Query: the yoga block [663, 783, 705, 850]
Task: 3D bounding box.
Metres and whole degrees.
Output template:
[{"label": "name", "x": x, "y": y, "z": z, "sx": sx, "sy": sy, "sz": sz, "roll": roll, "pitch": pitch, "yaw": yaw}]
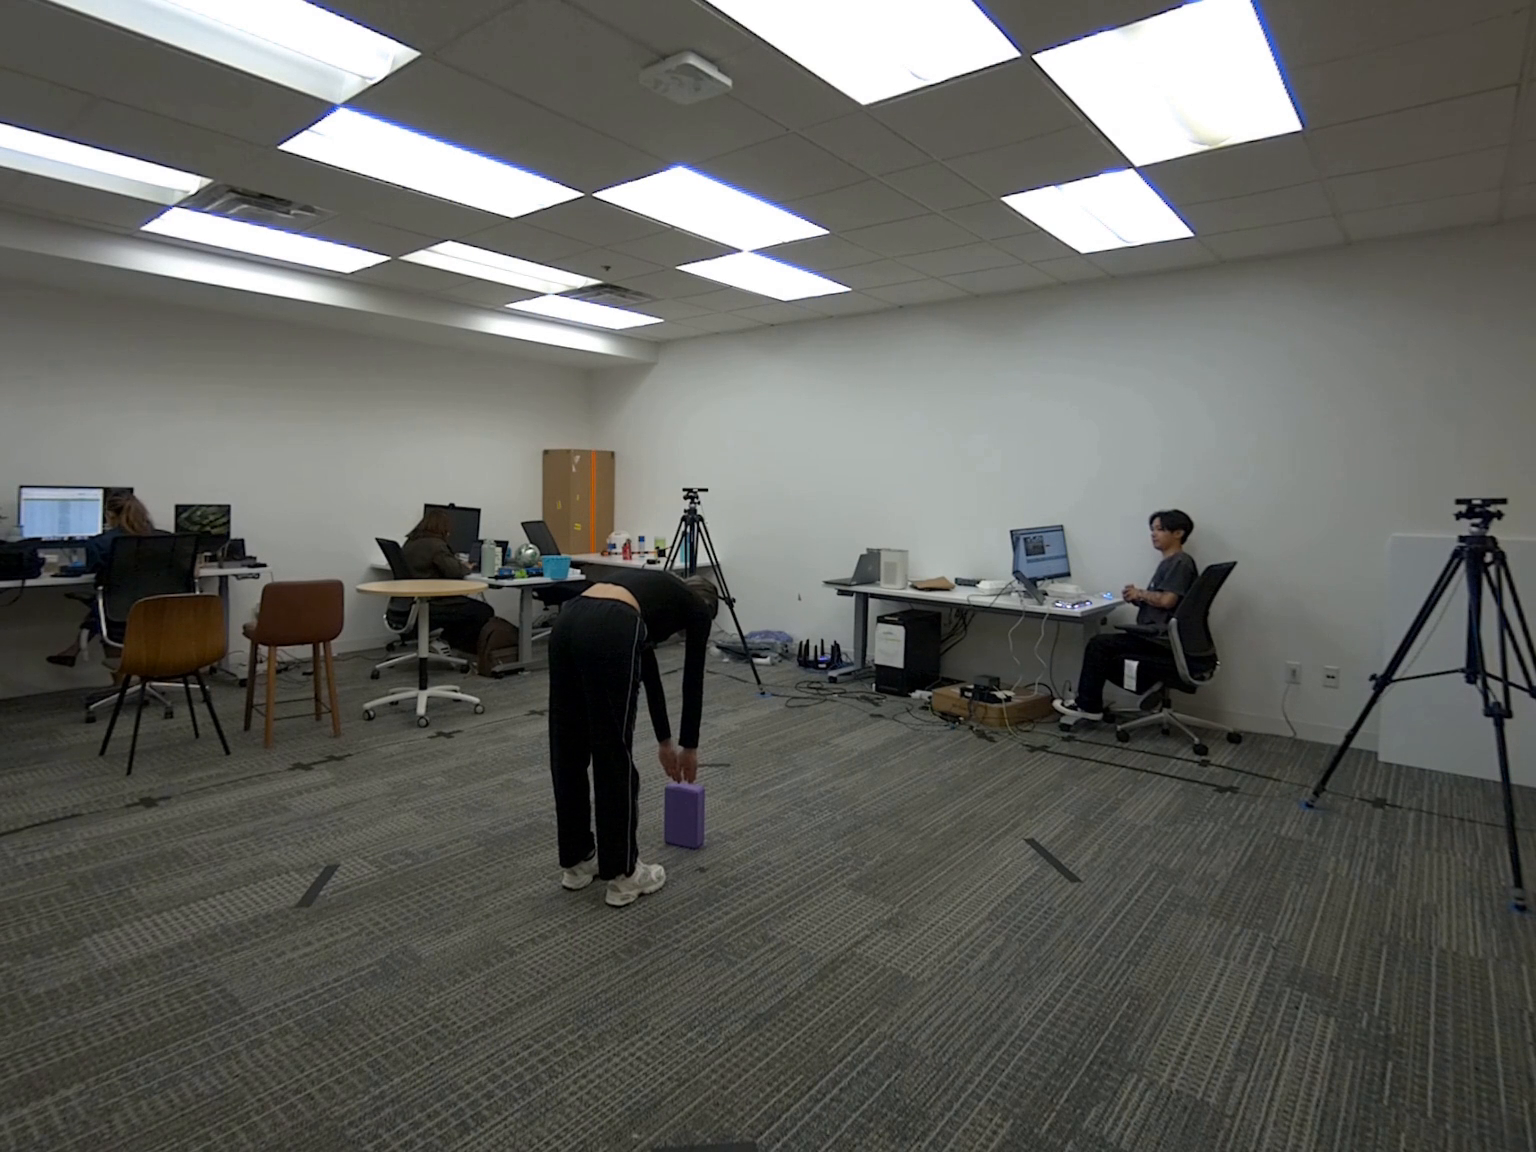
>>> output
[{"label": "yoga block", "x": -0.339, "y": 0.930, "z": 3.329, "sx": 0.153, "sy": 0.228, "sz": 0.075, "roll": 2, "pitch": 4, "yaw": 24}]
